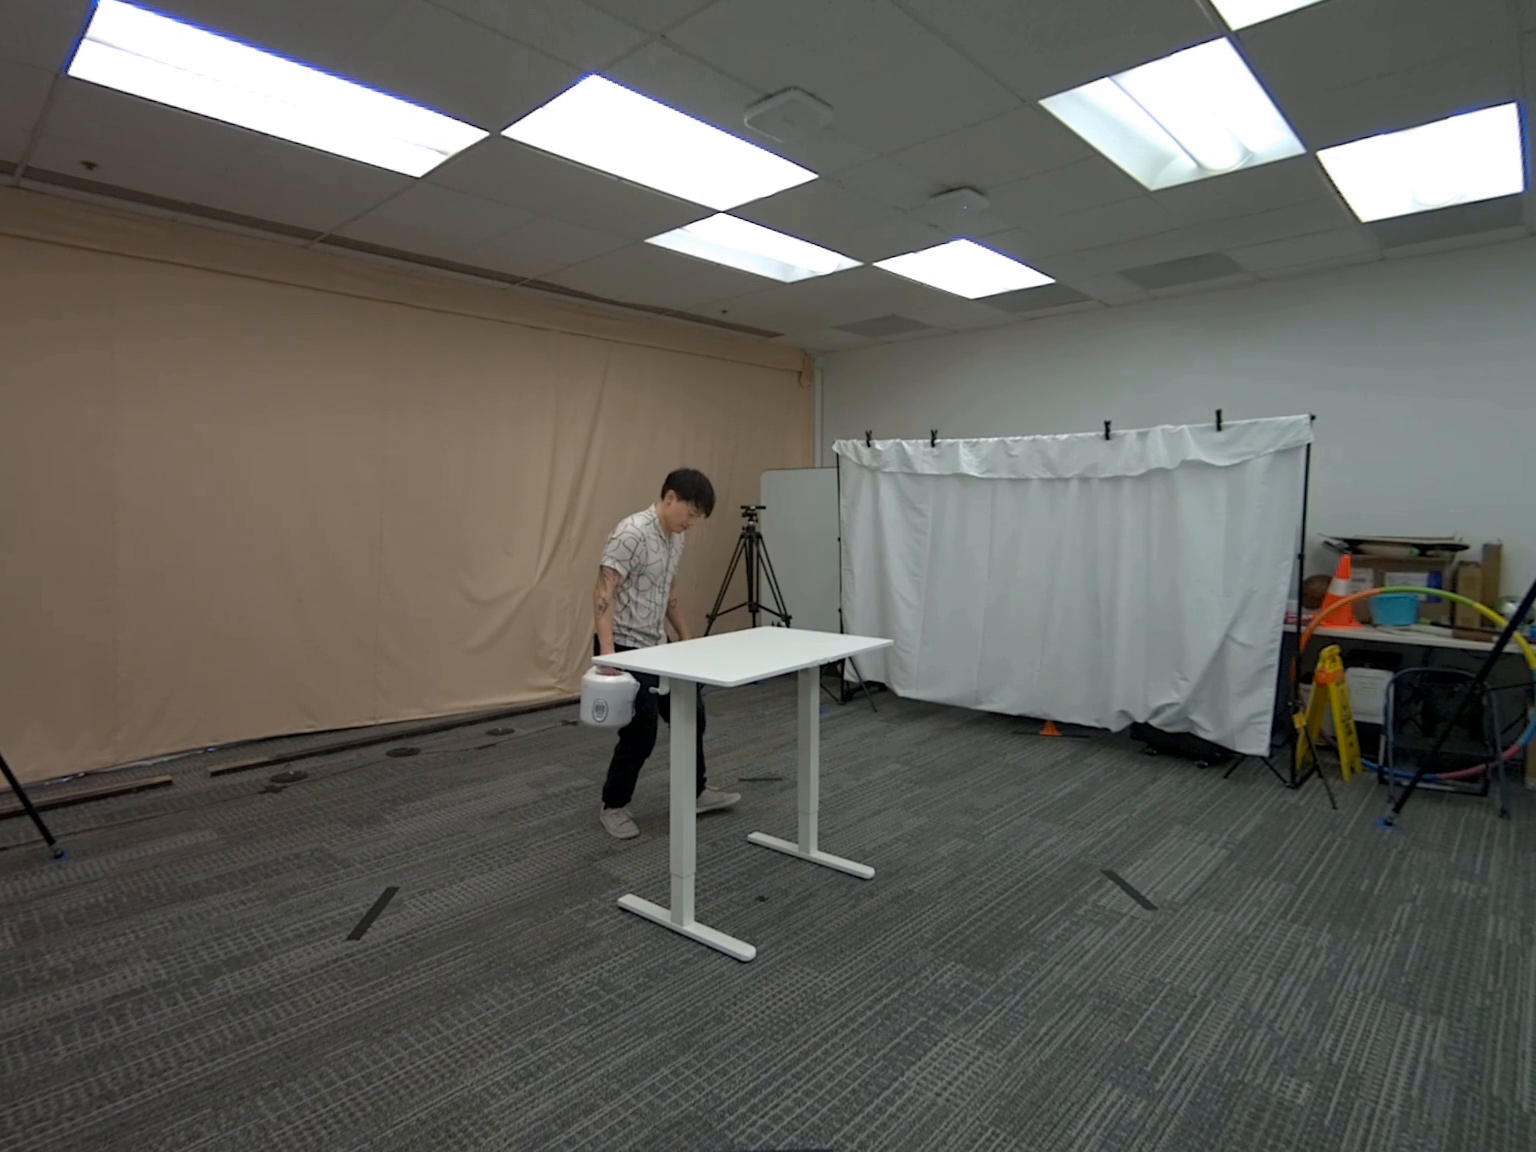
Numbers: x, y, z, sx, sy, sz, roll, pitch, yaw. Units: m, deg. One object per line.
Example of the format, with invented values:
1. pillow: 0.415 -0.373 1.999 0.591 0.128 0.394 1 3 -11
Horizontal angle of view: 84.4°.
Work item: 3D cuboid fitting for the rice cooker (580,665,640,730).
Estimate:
1. rice cooker: -0.628 0.475 3.325 0.222 0.232 0.216 4 1 6
